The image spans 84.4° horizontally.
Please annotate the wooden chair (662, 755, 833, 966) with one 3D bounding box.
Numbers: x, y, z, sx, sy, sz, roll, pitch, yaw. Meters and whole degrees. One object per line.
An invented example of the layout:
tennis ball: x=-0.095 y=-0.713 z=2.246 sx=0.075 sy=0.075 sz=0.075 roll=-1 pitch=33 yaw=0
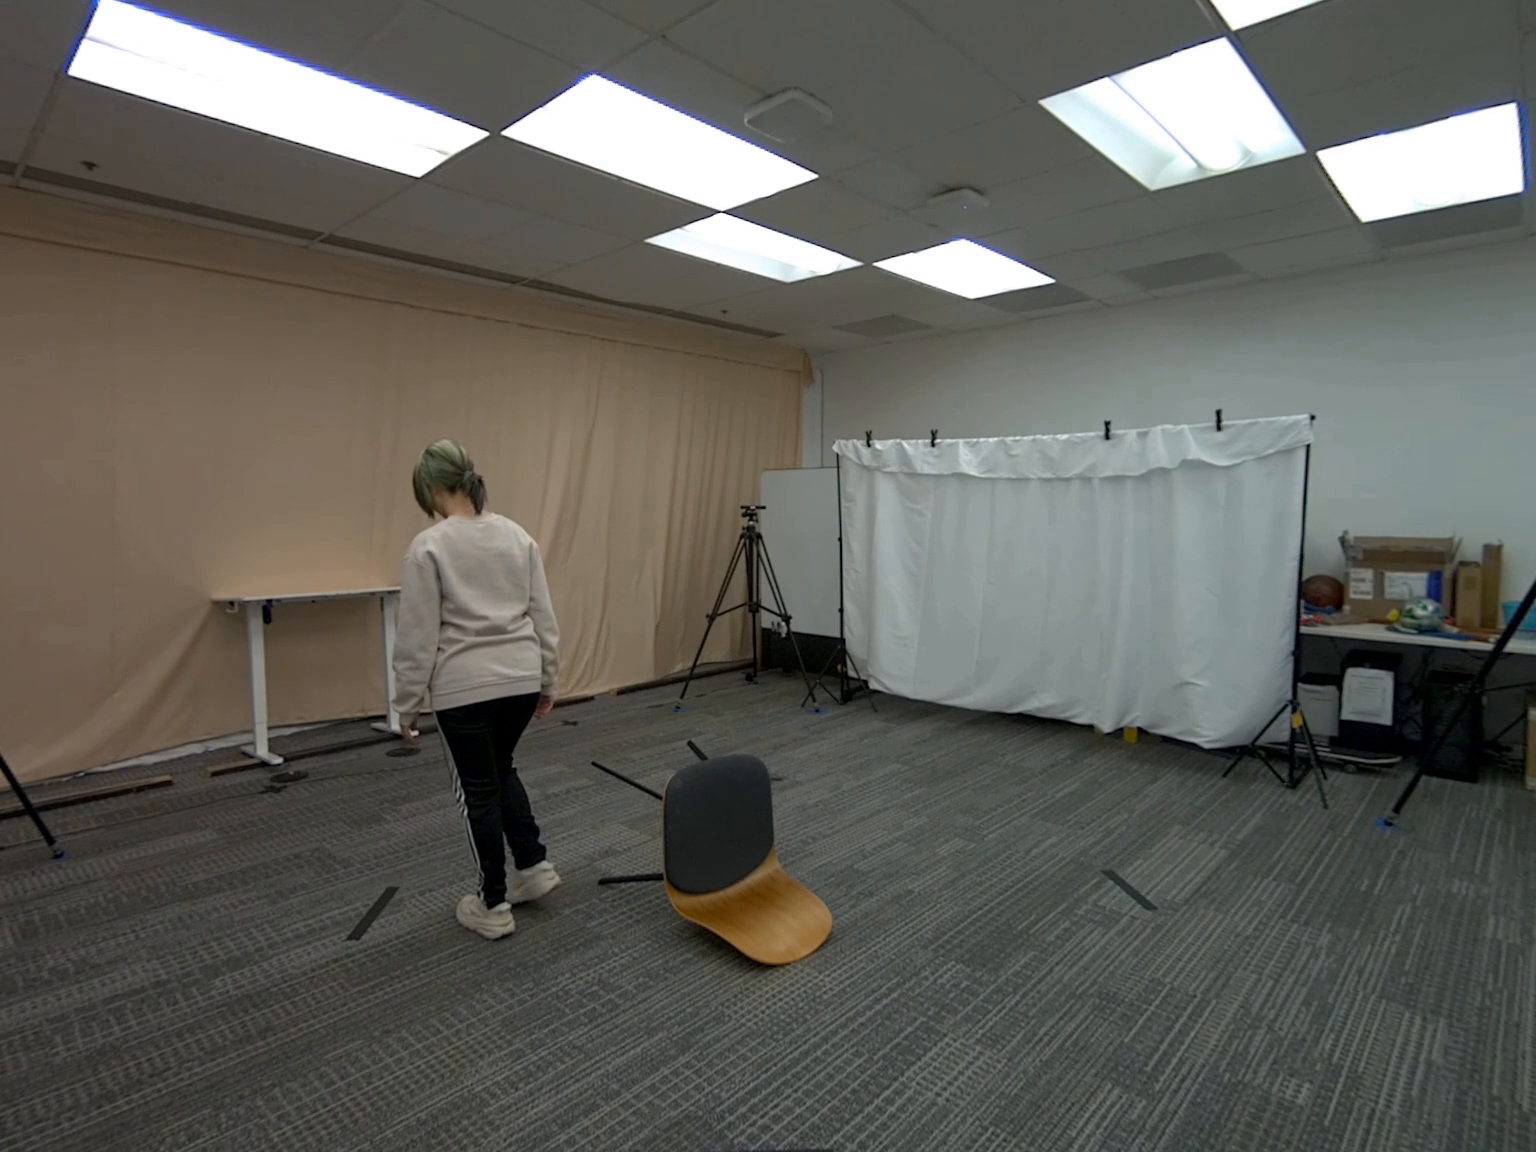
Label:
wooden chair: x=-0.187 y=0.893 z=2.905 sx=0.464 sy=0.521 sz=0.907 roll=-4 pitch=7 yaw=-39
